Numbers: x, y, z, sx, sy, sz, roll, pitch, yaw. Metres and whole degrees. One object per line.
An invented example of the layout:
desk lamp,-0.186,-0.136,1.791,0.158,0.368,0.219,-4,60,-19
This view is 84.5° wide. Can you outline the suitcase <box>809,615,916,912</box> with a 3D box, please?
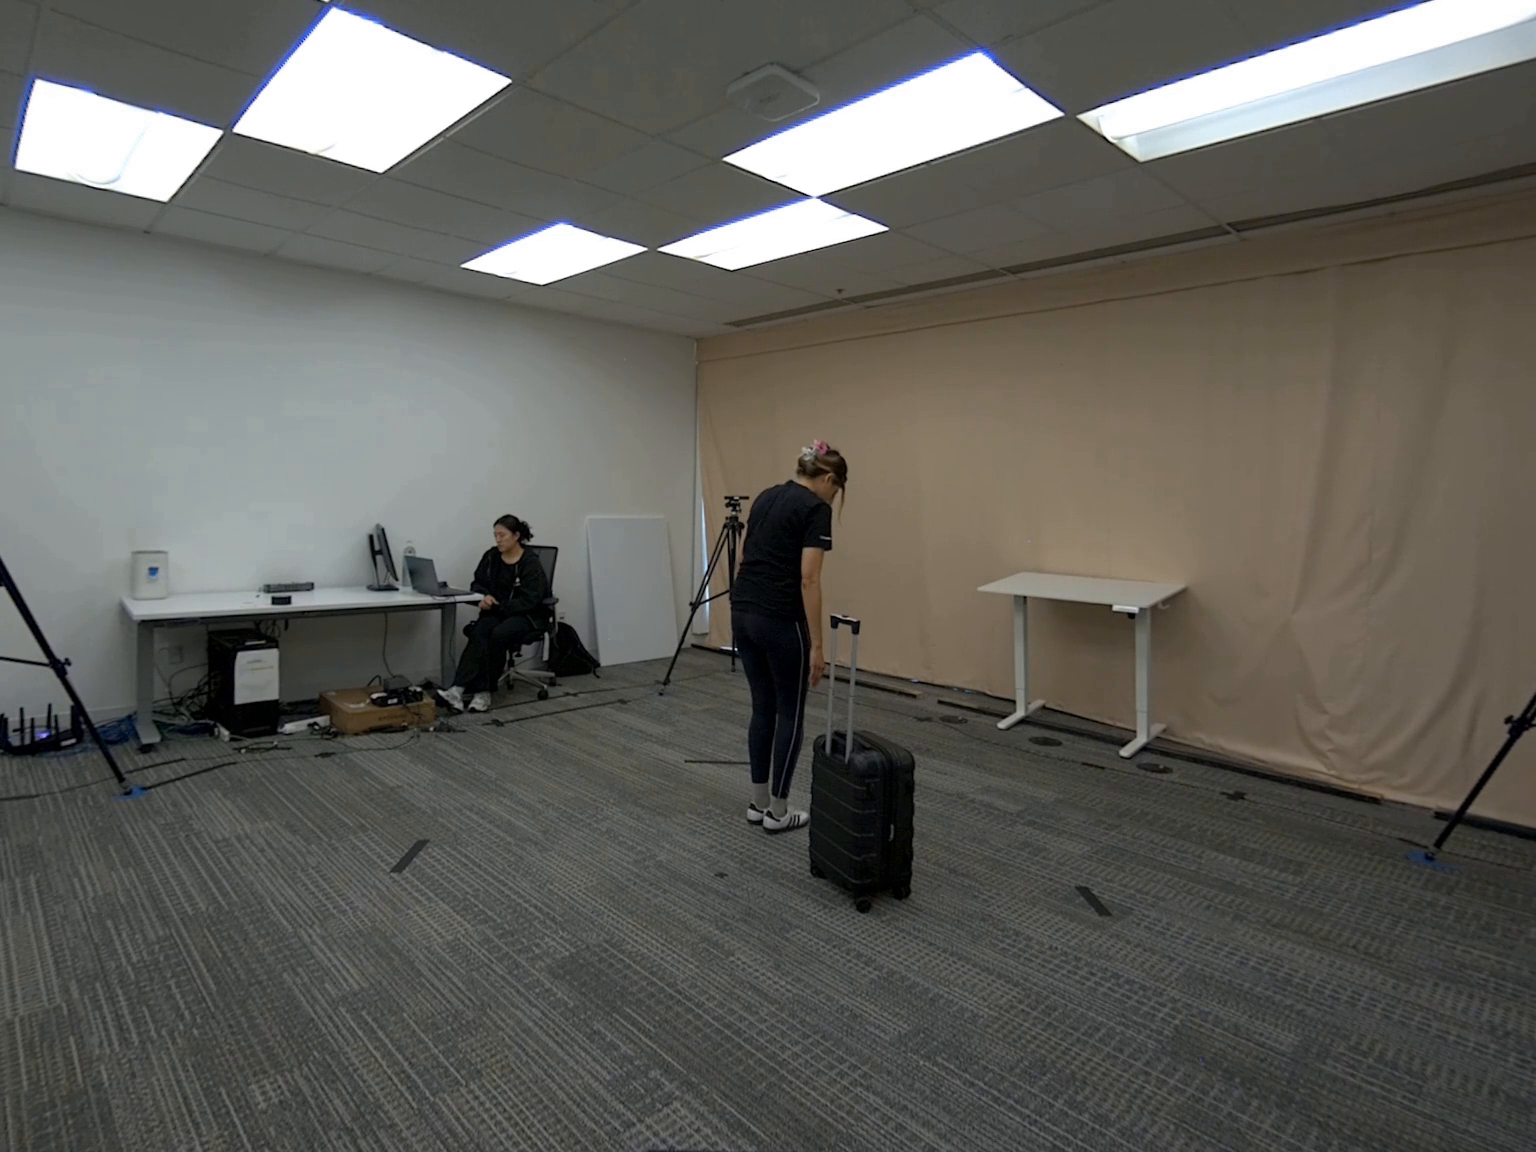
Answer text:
suitcase,0.347,0.647,3.012,0.252,0.977,0.391,2,3,-23
